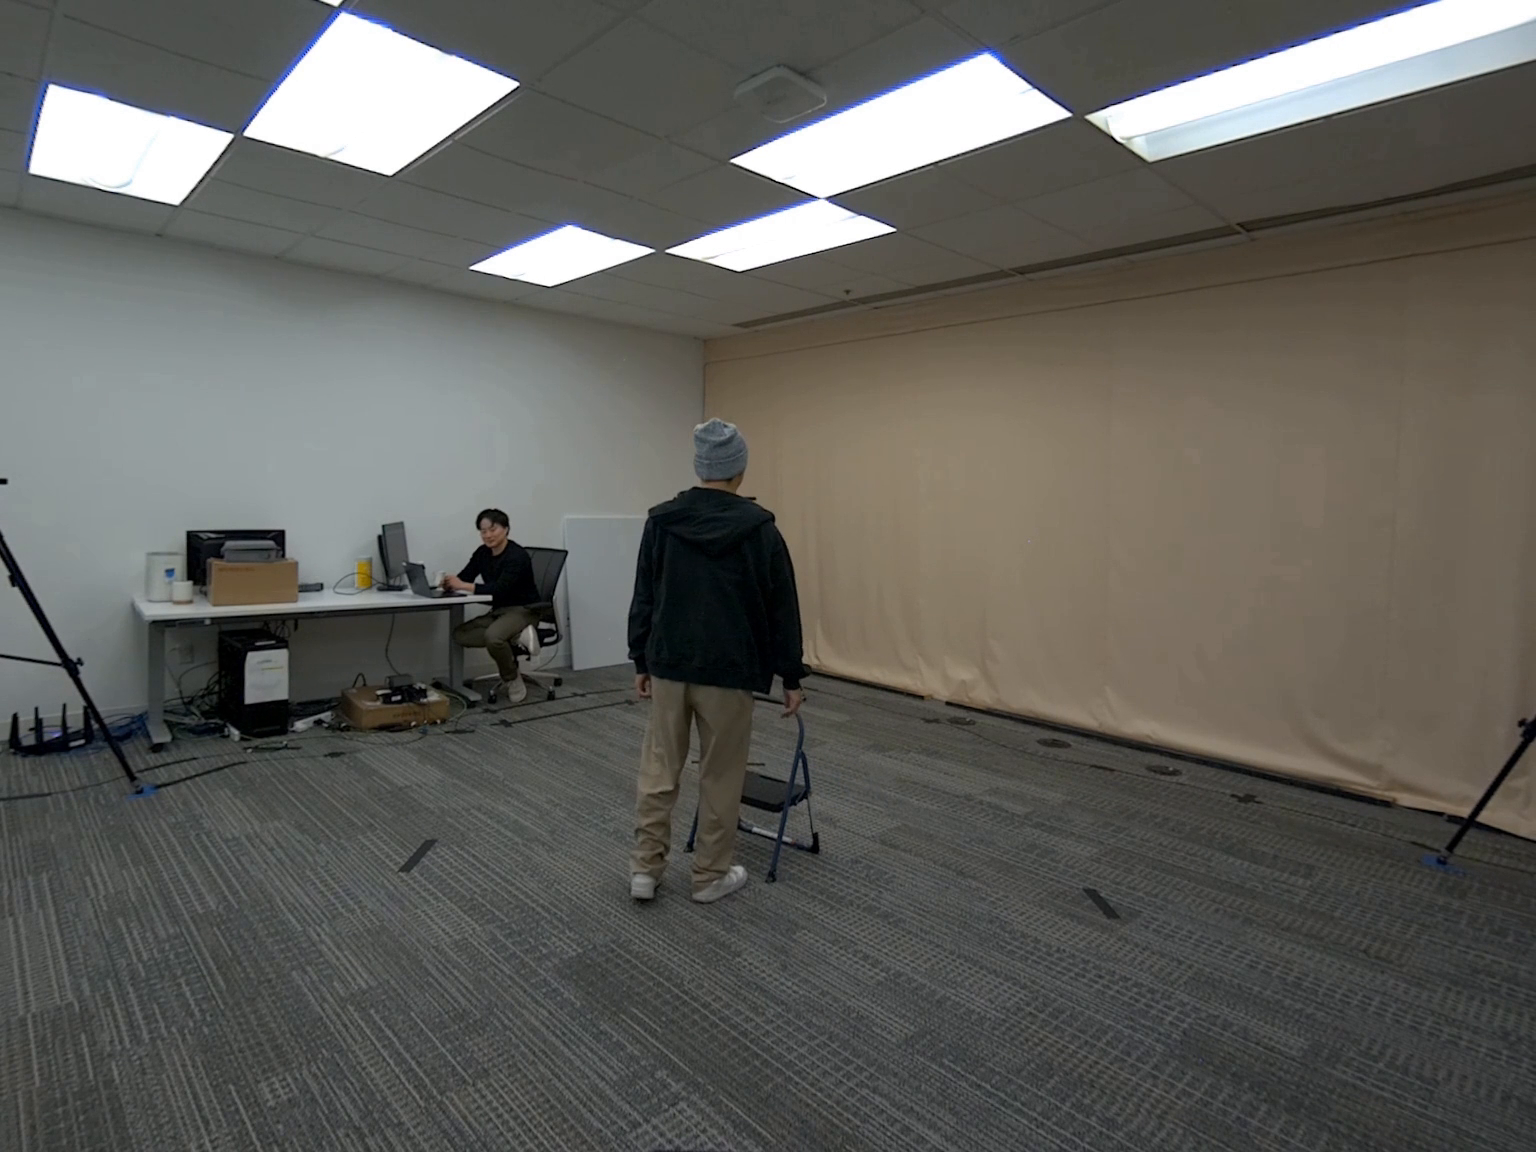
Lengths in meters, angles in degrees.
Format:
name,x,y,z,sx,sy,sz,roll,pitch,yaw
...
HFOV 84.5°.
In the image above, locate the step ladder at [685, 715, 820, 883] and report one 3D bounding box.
name,x,y,z,sx,sy,sz,roll,pitch,yaw
step ladder,-0.055,0.789,3.307,0.441,0.604,0.342,4,5,37
